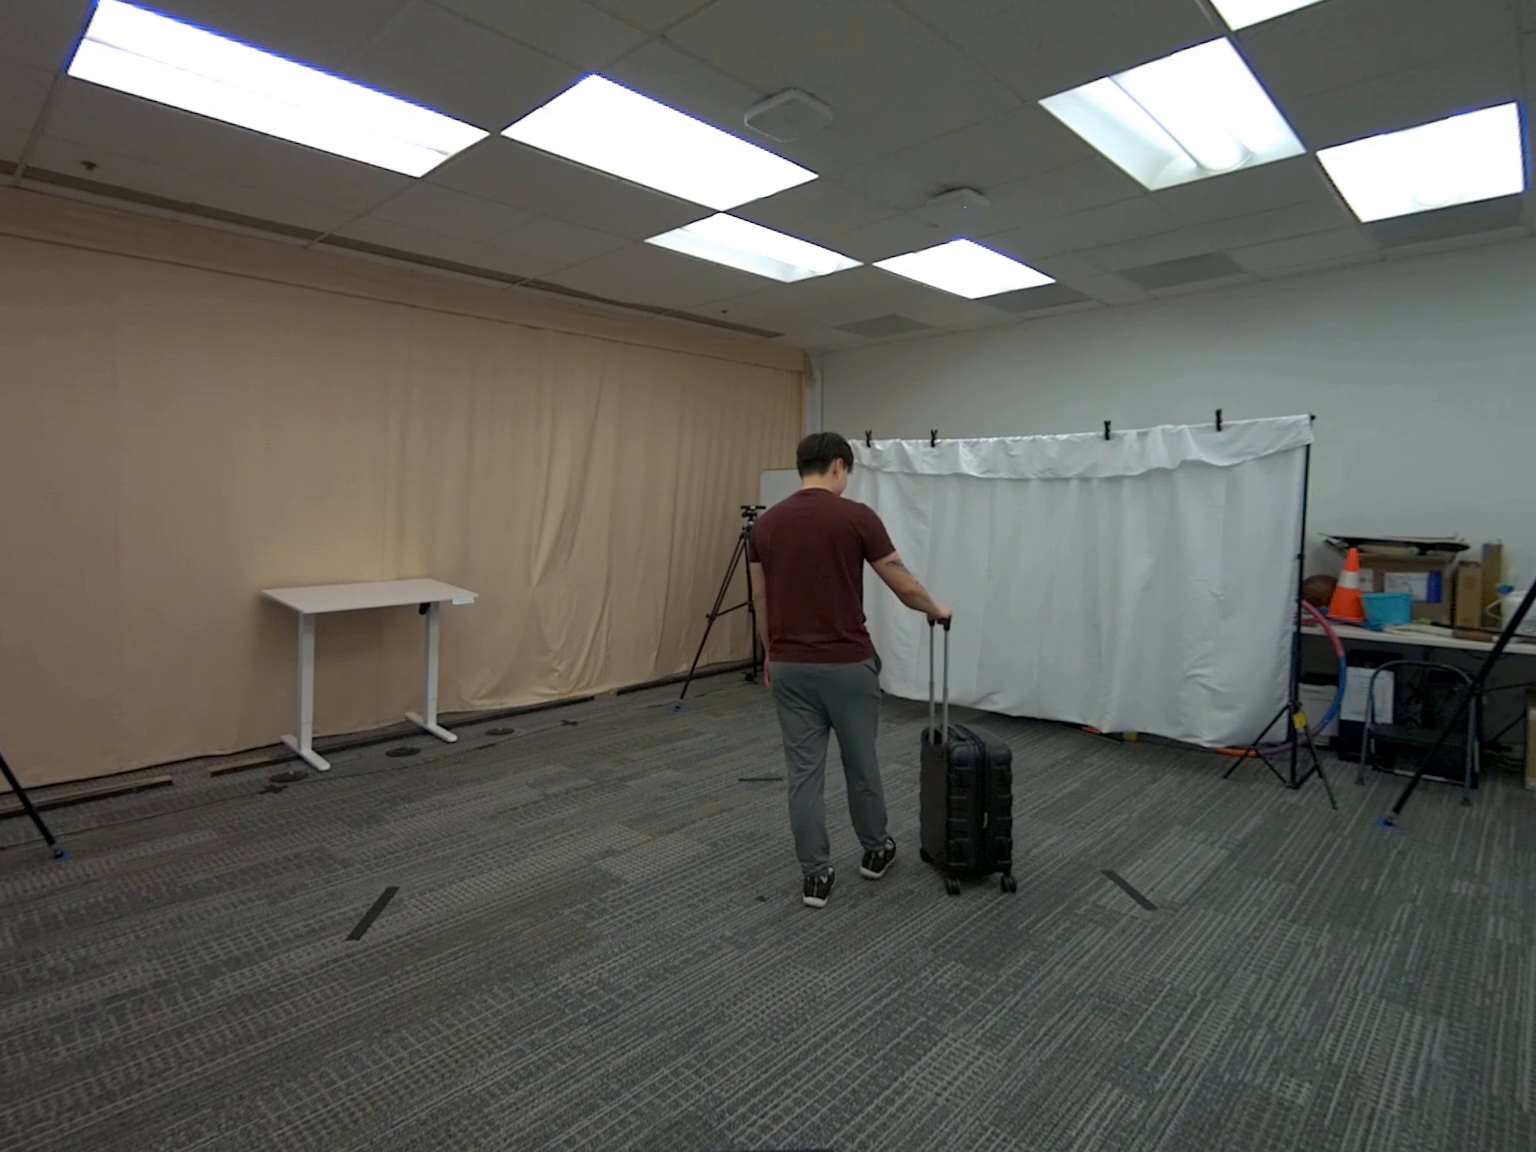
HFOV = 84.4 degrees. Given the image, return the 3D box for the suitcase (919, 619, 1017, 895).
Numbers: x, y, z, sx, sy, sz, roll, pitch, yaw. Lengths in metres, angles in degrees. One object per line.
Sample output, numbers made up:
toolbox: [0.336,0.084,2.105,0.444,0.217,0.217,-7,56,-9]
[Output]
suitcase: [0.748,0.646,3.178,0.256,0.978,0.385,1,1,-3]
